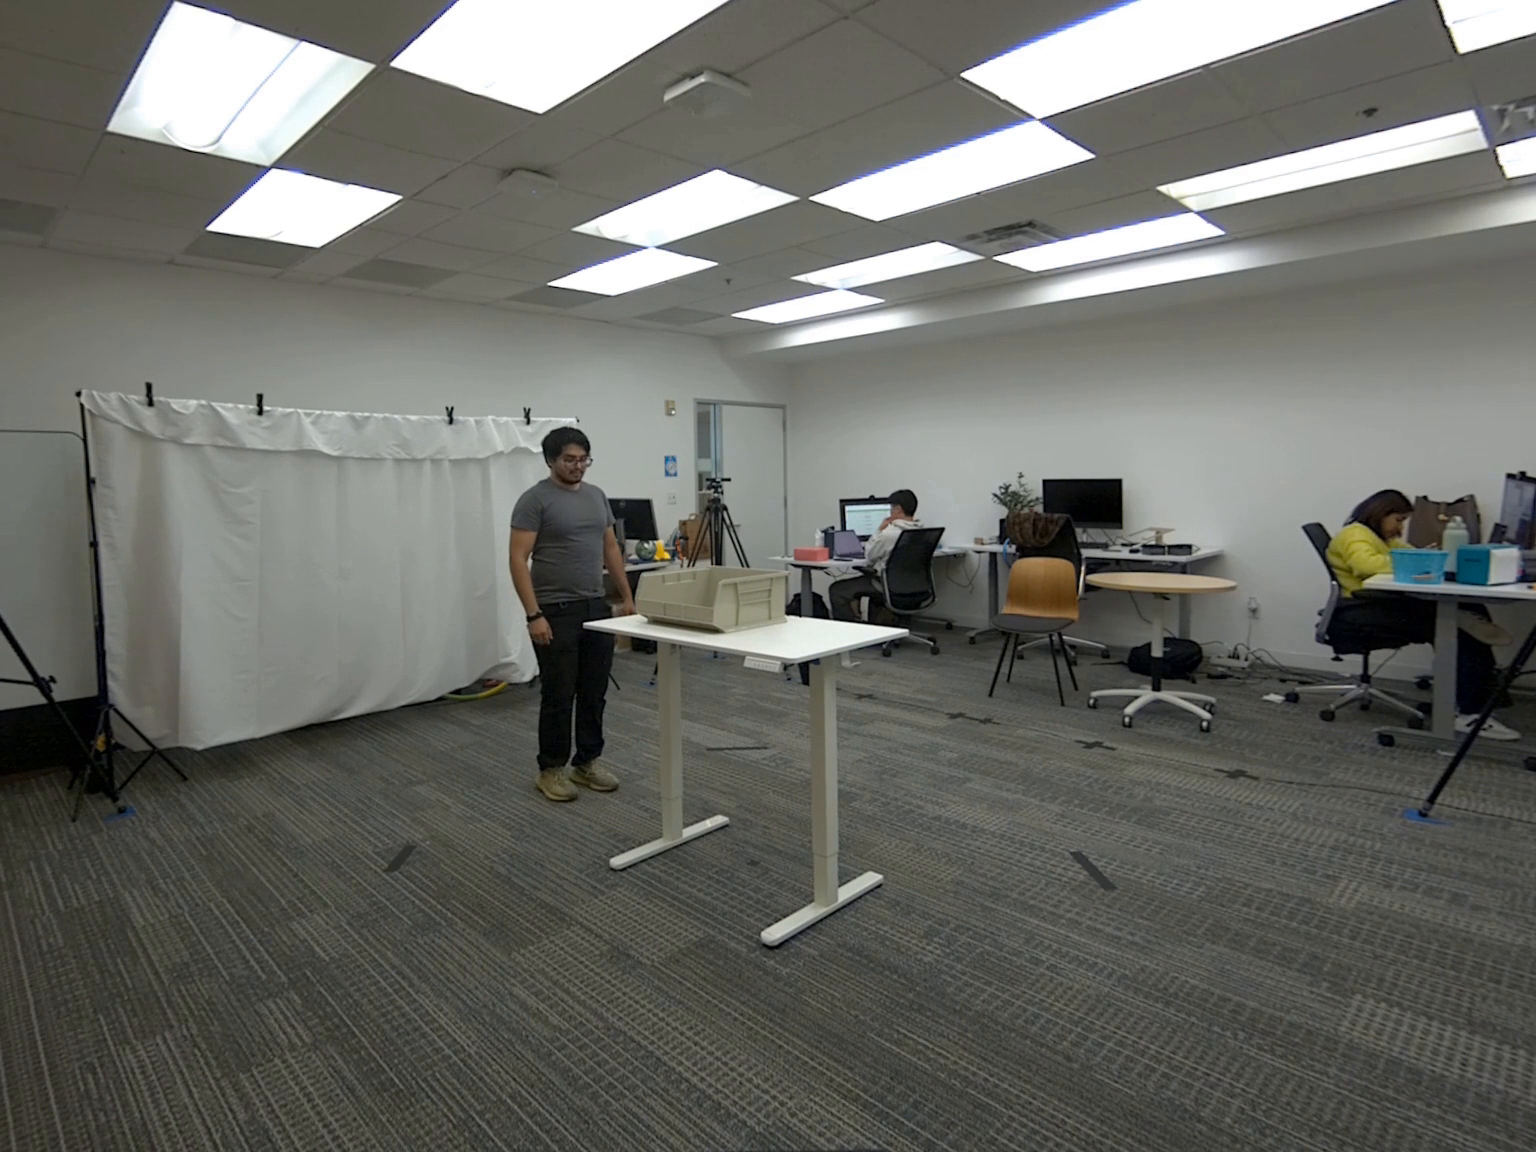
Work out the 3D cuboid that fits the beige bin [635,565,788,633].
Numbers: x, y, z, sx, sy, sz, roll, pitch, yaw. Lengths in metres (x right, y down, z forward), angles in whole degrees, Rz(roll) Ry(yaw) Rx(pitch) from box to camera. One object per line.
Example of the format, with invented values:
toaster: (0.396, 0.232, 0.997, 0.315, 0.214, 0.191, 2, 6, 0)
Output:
beige bin: (-0.200, 0.080, 3.059, 0.435, 0.188, 0.367, 4, 6, 44)
